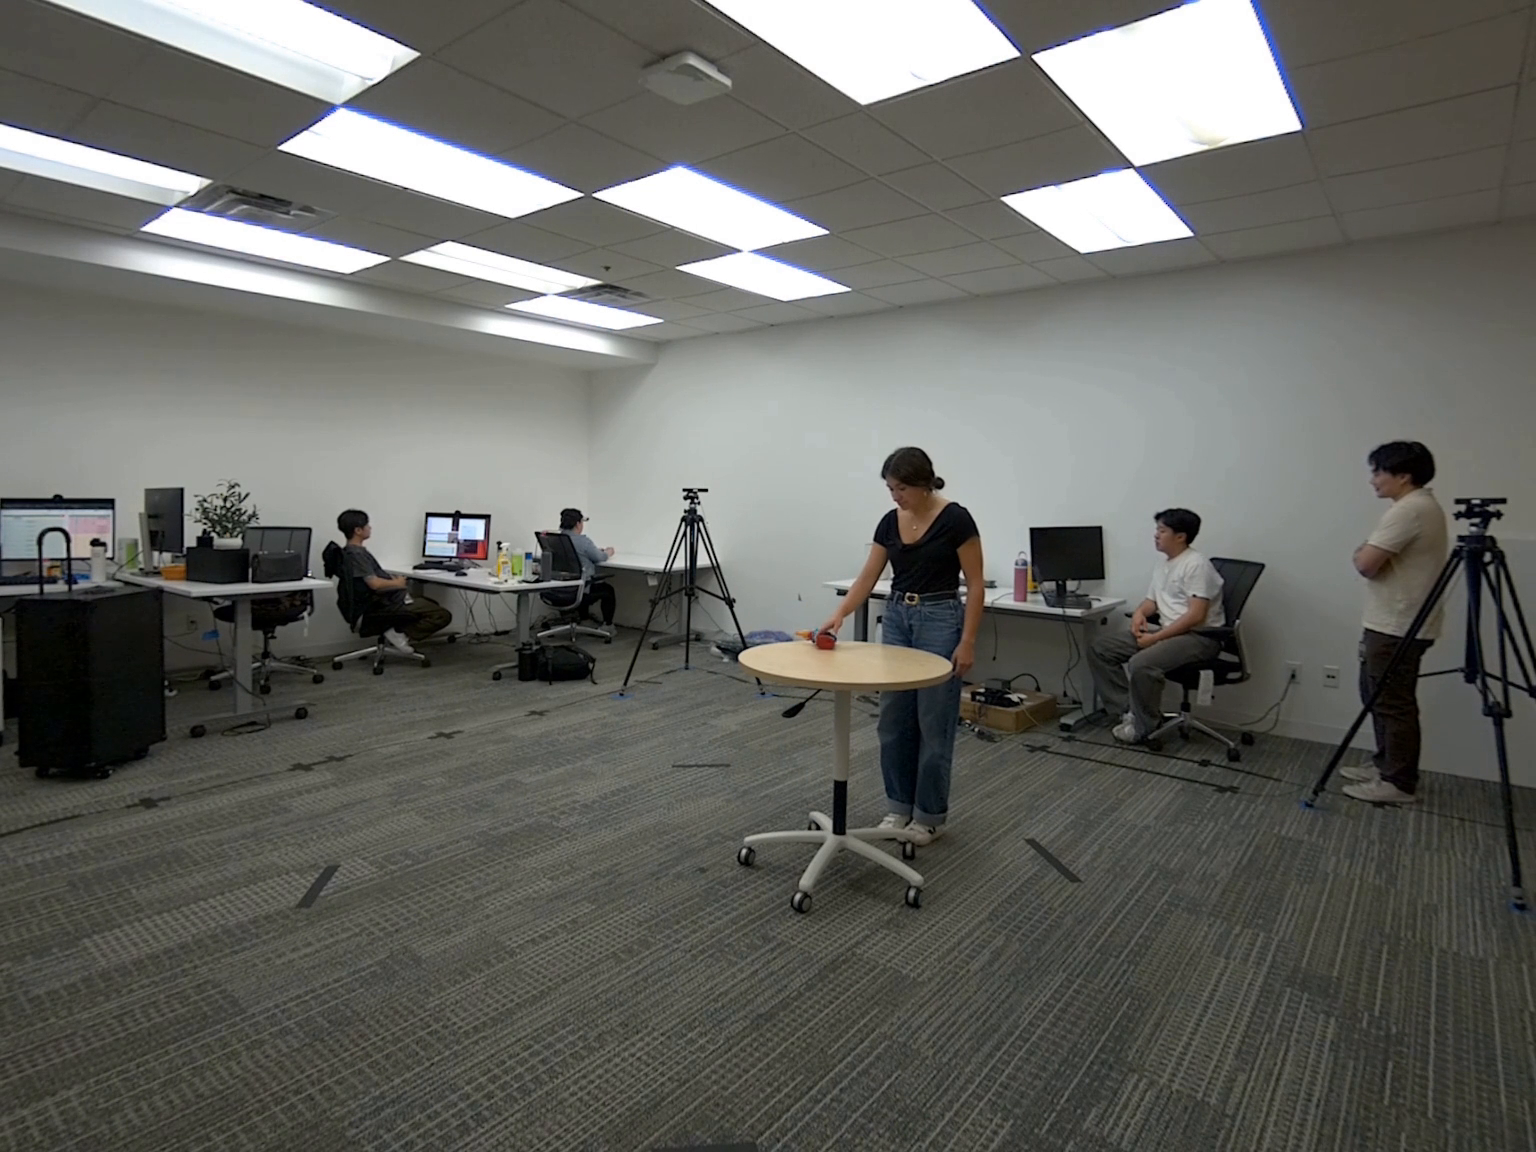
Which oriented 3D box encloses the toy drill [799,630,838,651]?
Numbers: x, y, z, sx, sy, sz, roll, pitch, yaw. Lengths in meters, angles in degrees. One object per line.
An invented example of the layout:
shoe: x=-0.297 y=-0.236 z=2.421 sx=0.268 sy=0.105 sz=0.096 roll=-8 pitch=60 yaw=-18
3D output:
toy drill: x=0.195 y=0.237 z=3.351 sx=0.170 sy=0.061 sz=0.146 roll=11 pitch=7 yaw=2
